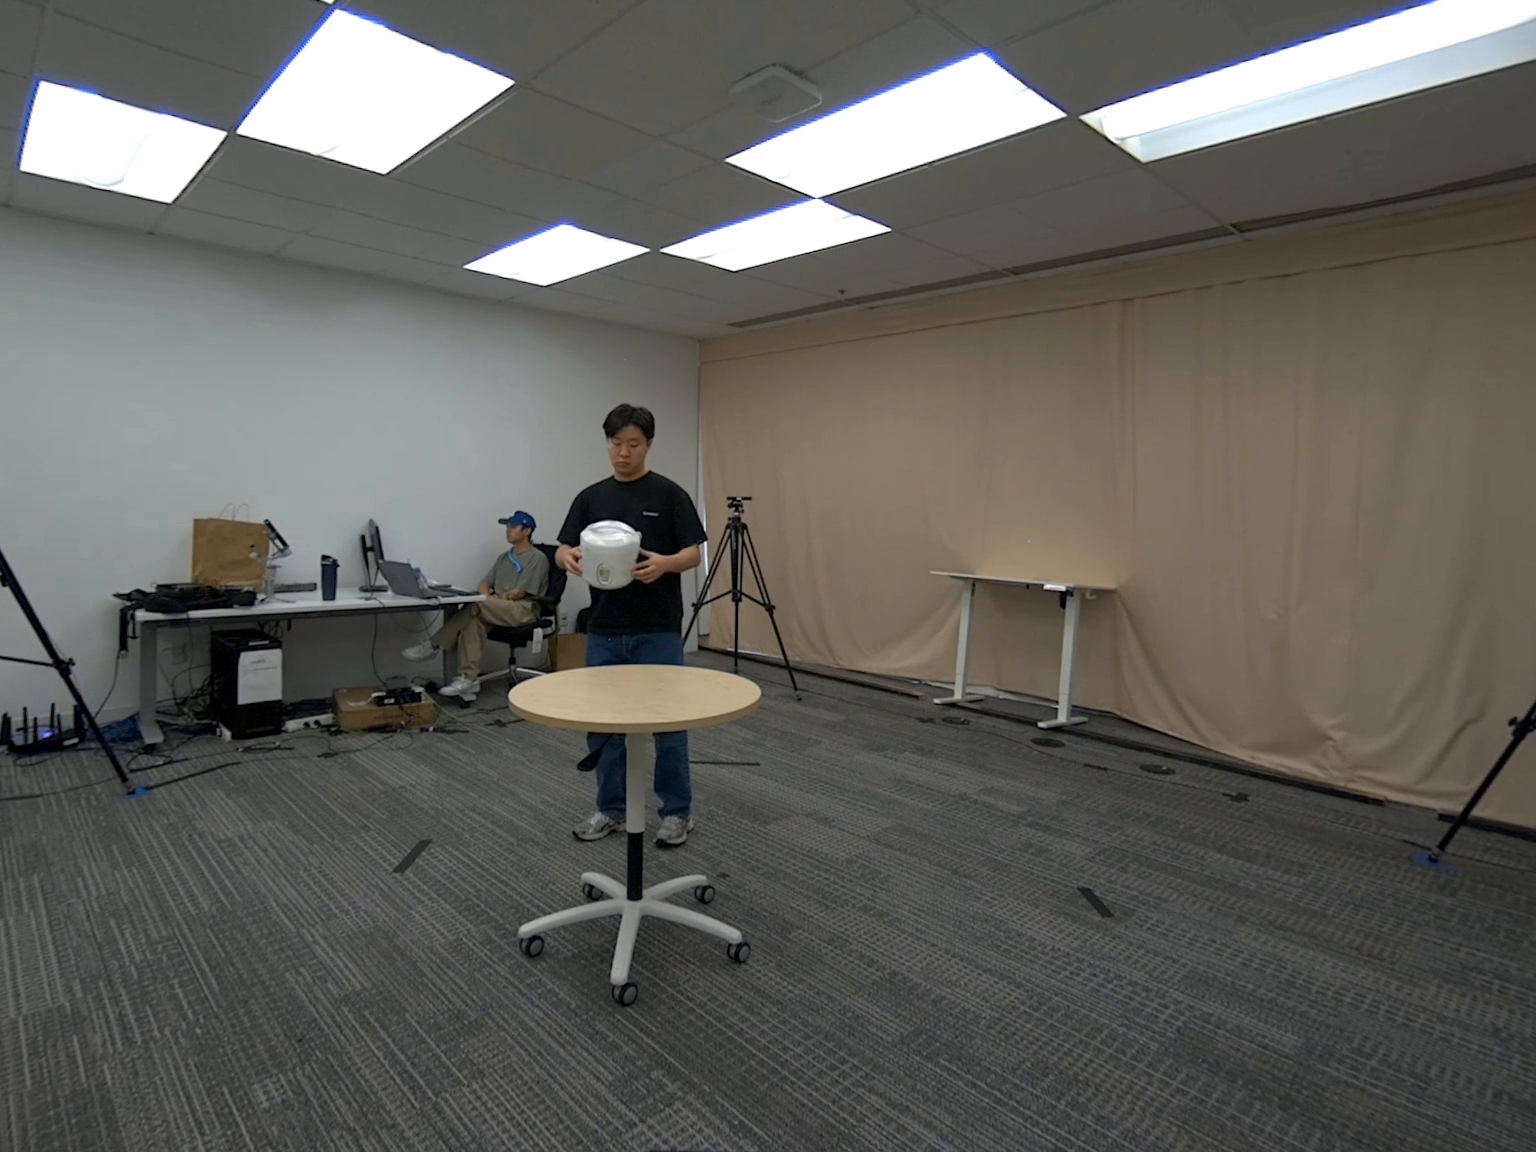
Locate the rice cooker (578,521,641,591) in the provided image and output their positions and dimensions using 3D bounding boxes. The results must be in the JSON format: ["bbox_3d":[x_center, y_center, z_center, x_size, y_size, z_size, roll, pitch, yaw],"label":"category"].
[{"bbox_3d":[-0.598,-0.089,3.142,0.221,0.229,0.221,5,27,0],"label":"rice cooker"}]
